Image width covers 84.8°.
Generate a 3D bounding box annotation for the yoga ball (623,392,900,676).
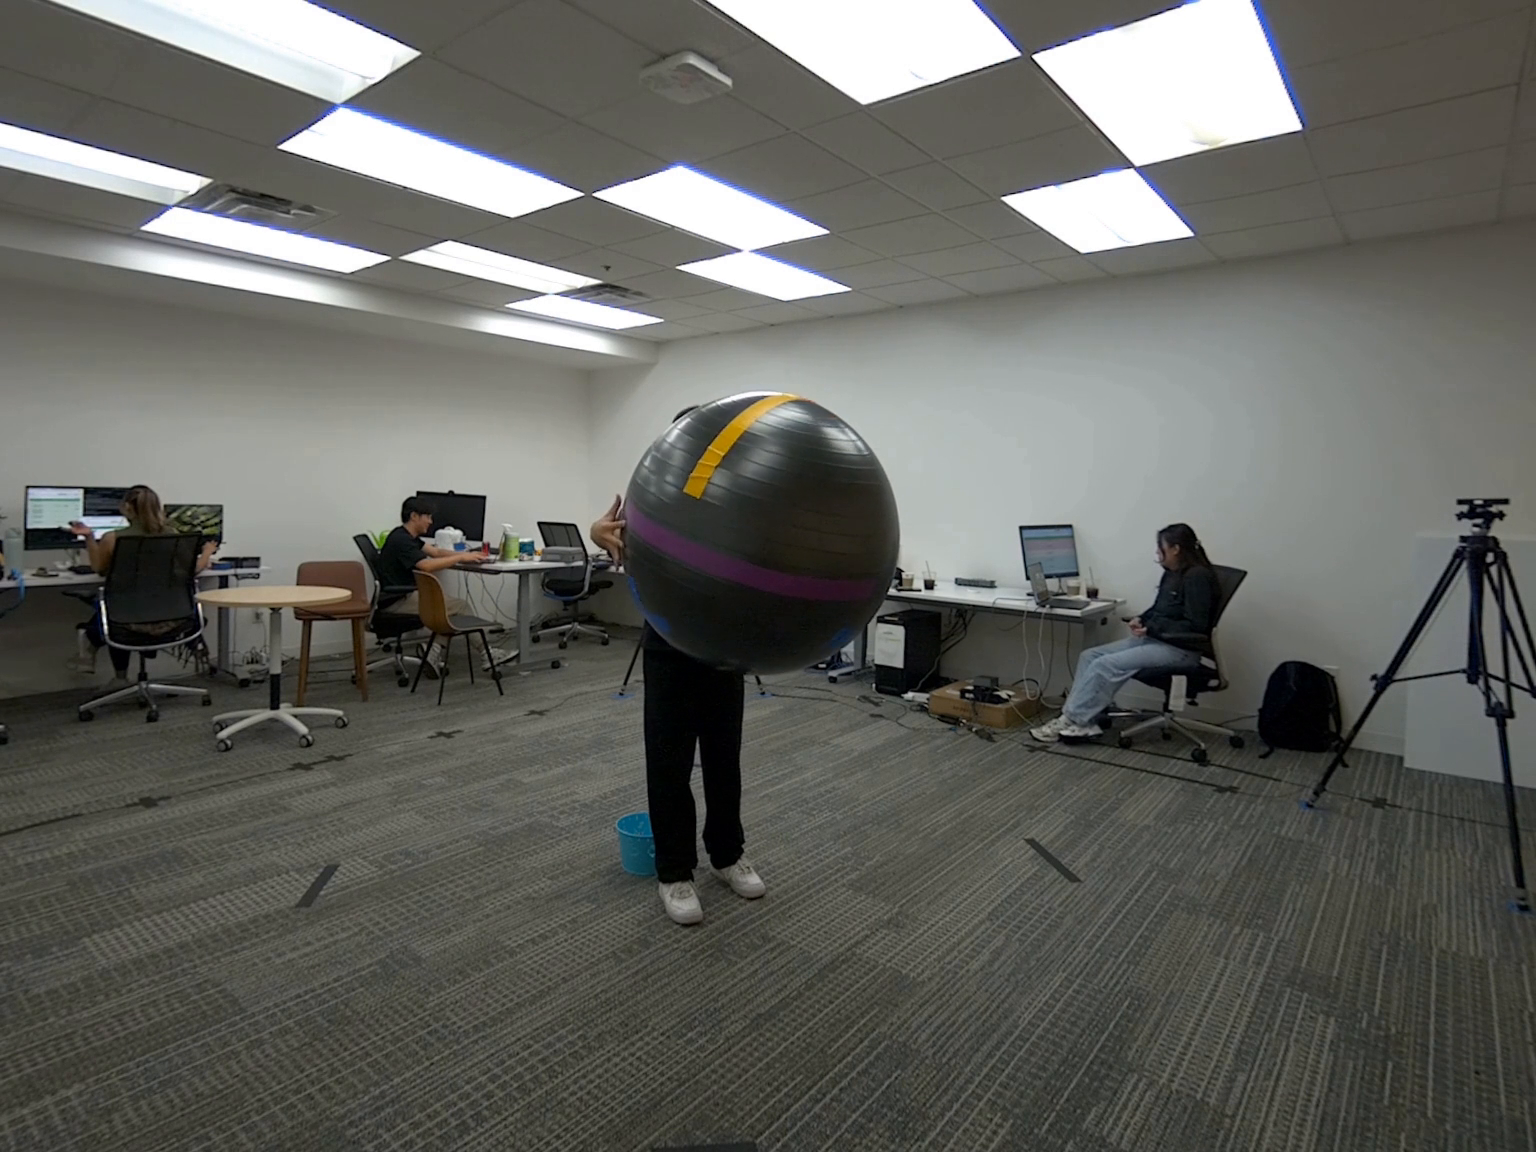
[{"bbox_3d":[-0.024,-0.110,2.312,0.757,0.756,0.761,1,4,-2],"label":"yoga ball"}]
